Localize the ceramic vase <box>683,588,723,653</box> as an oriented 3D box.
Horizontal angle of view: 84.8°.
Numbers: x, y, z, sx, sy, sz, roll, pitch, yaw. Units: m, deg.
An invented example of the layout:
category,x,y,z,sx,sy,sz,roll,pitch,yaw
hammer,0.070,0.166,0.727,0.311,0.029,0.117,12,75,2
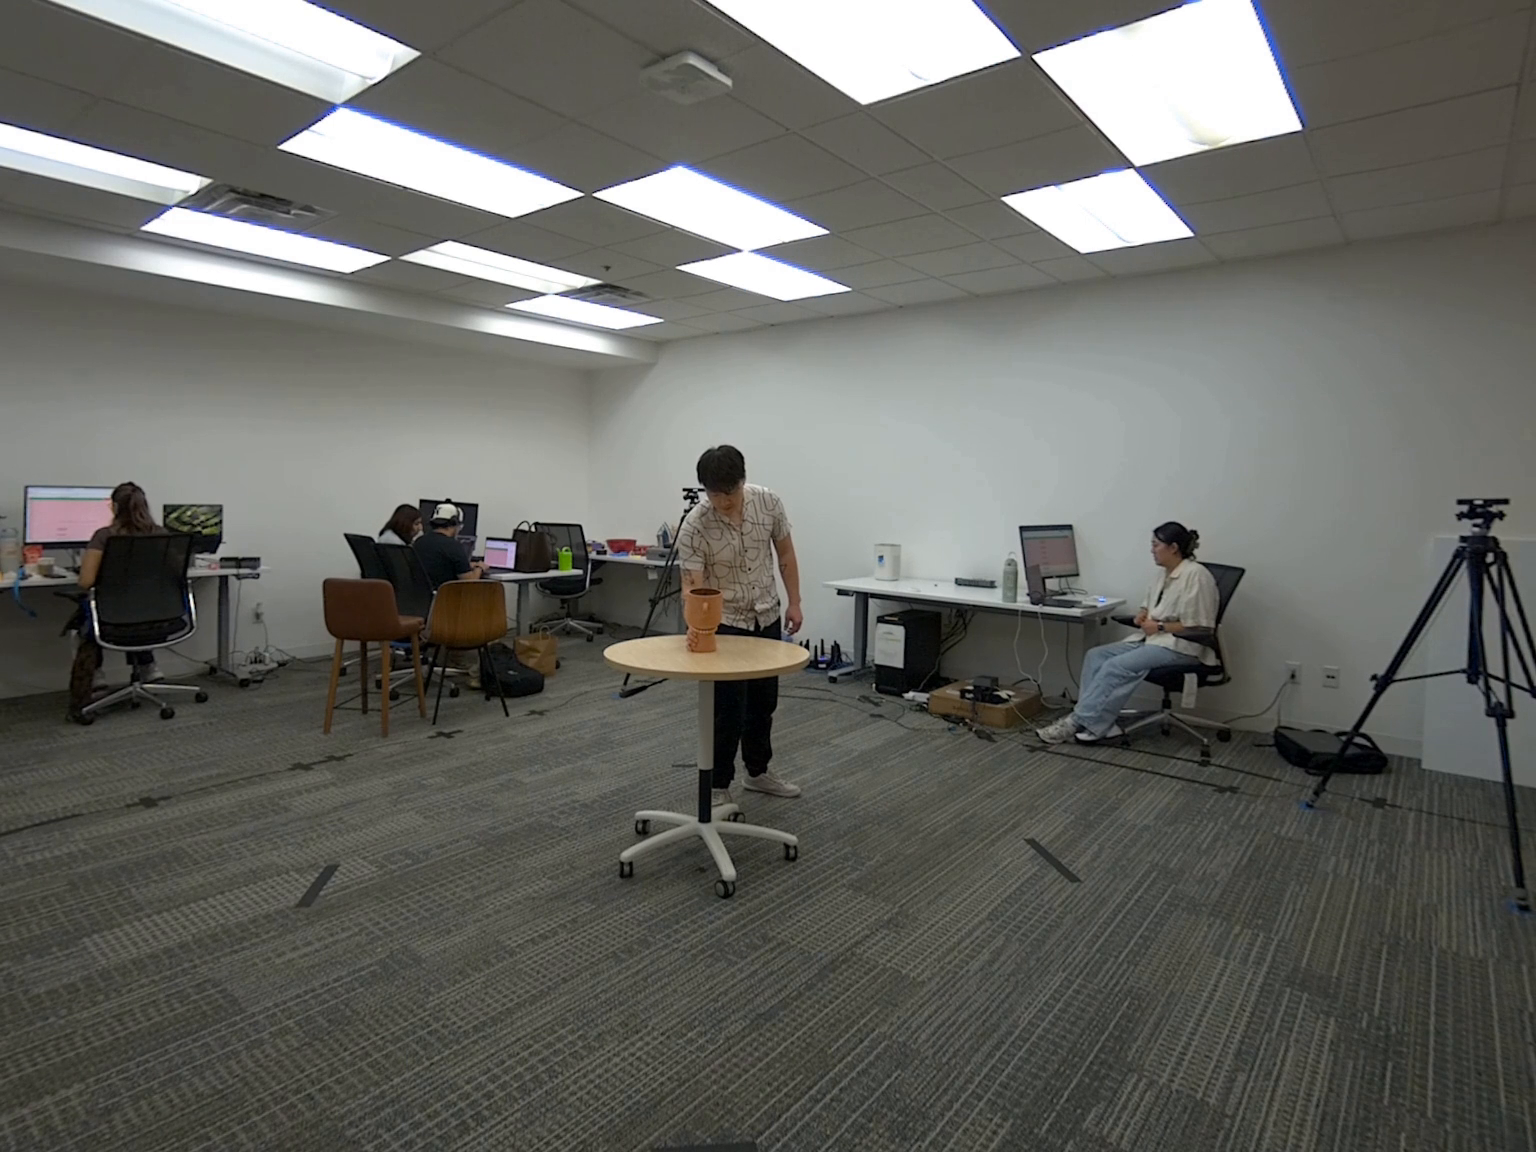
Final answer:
category,x,y,z,sx,sy,sz,roll,pitch,yaw
ceramic vase,-0.251,0.163,3.175,0.139,0.218,0.155,9,13,33
